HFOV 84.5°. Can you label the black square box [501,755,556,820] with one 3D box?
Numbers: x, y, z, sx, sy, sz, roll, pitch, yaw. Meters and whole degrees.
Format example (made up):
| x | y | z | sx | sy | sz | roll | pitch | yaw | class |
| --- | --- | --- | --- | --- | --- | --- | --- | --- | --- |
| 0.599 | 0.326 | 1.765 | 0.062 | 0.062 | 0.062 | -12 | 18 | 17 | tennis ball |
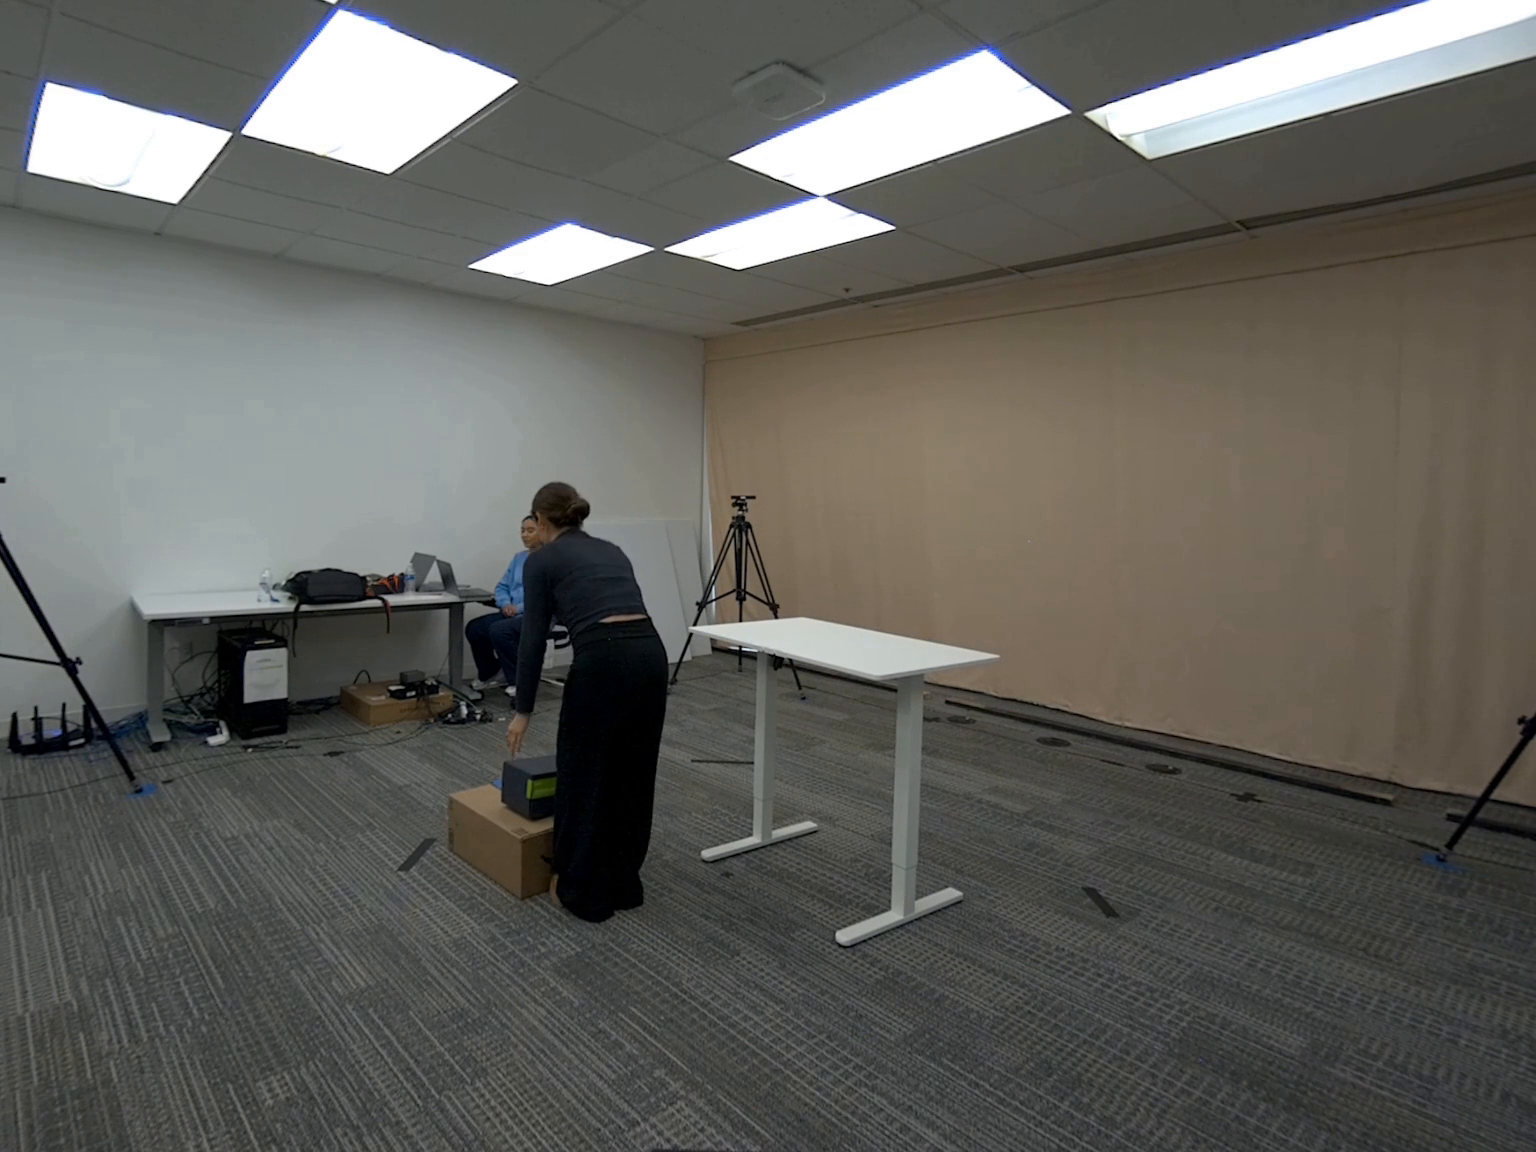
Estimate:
| x | y | z | sx | sy | sz | roll | pitch | yaw | class |
| --- | --- | --- | --- | --- | --- | --- | --- | --- | --- |
| -0.839 | 0.776 | 3.140 | 0.222 | 0.156 | 0.222 | 3 | 2 | -45 | black square box |
